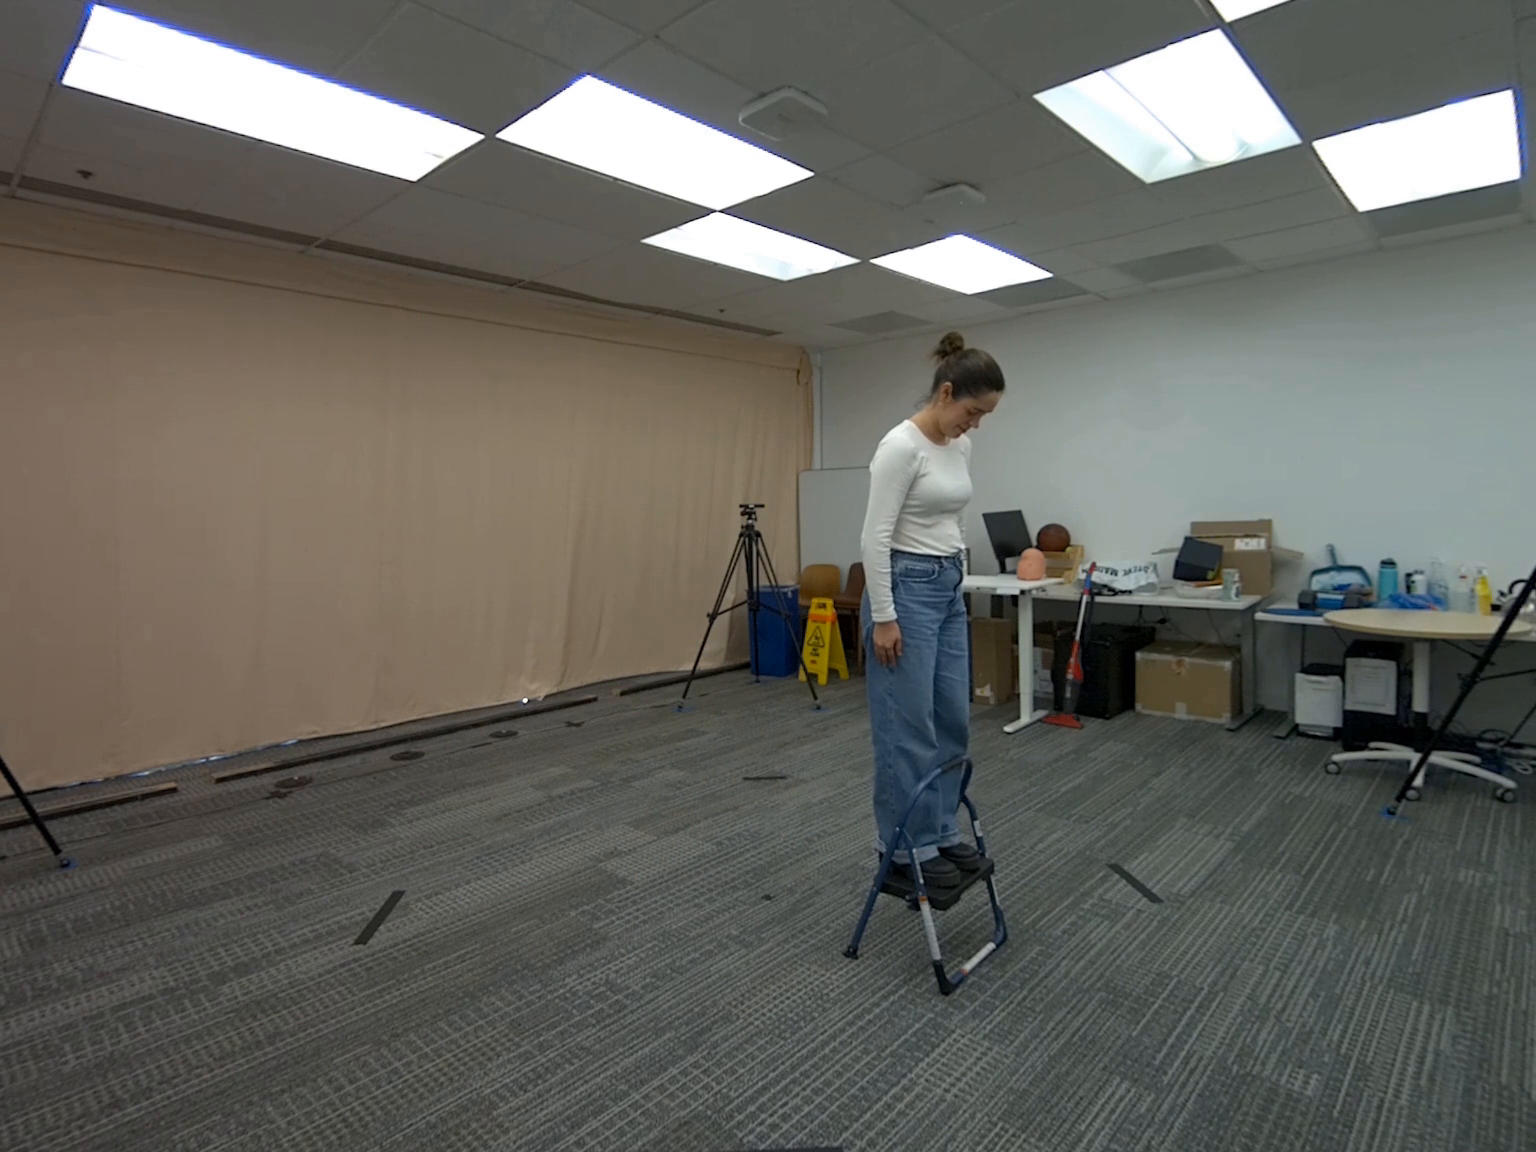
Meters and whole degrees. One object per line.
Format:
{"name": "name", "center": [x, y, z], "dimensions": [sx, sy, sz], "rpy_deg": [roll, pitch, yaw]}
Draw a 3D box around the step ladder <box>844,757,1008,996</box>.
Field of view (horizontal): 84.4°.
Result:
{"name": "step ladder", "center": [0.500, 0.862, 2.612], "dimensions": [0.361, 0.604, 0.418], "rpy_deg": [3, 6, 40]}
